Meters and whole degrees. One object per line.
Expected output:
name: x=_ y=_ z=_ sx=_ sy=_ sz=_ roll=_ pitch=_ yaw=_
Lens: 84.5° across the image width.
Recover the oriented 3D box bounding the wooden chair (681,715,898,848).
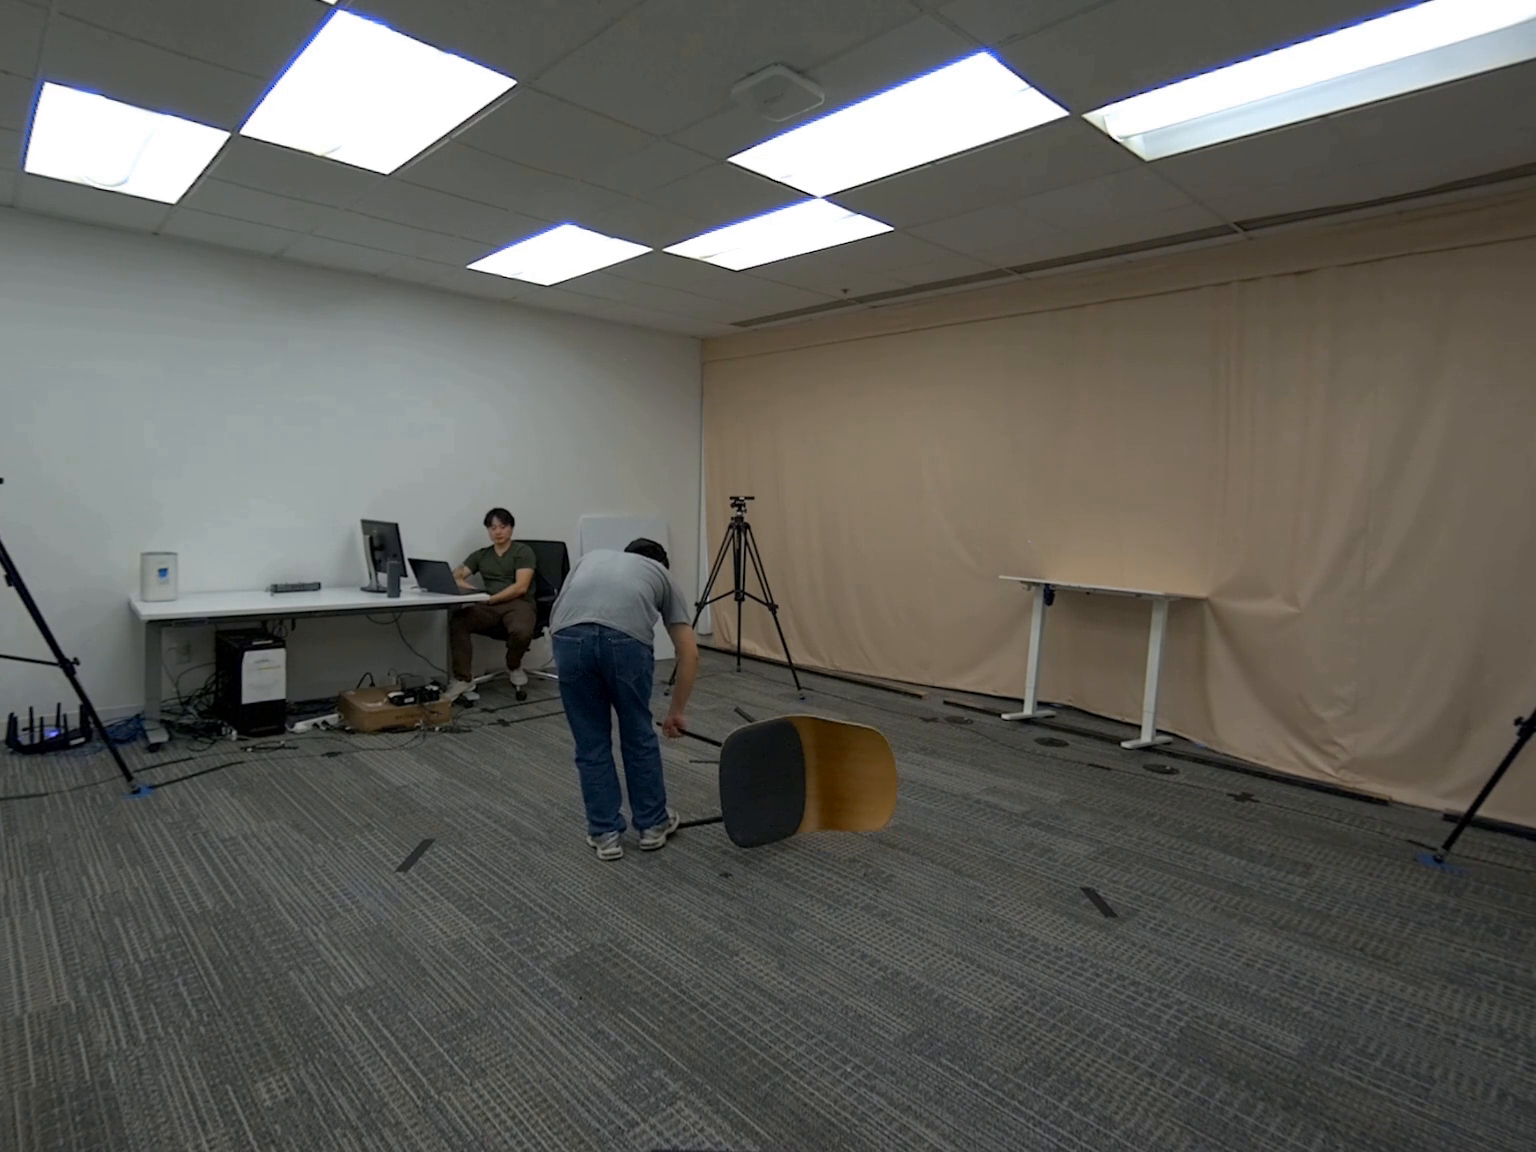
wooden chair: x=-0.013 y=0.801 z=3.357 sx=0.896 sy=0.479 sz=0.511 roll=-5 pitch=-2 yaw=43
